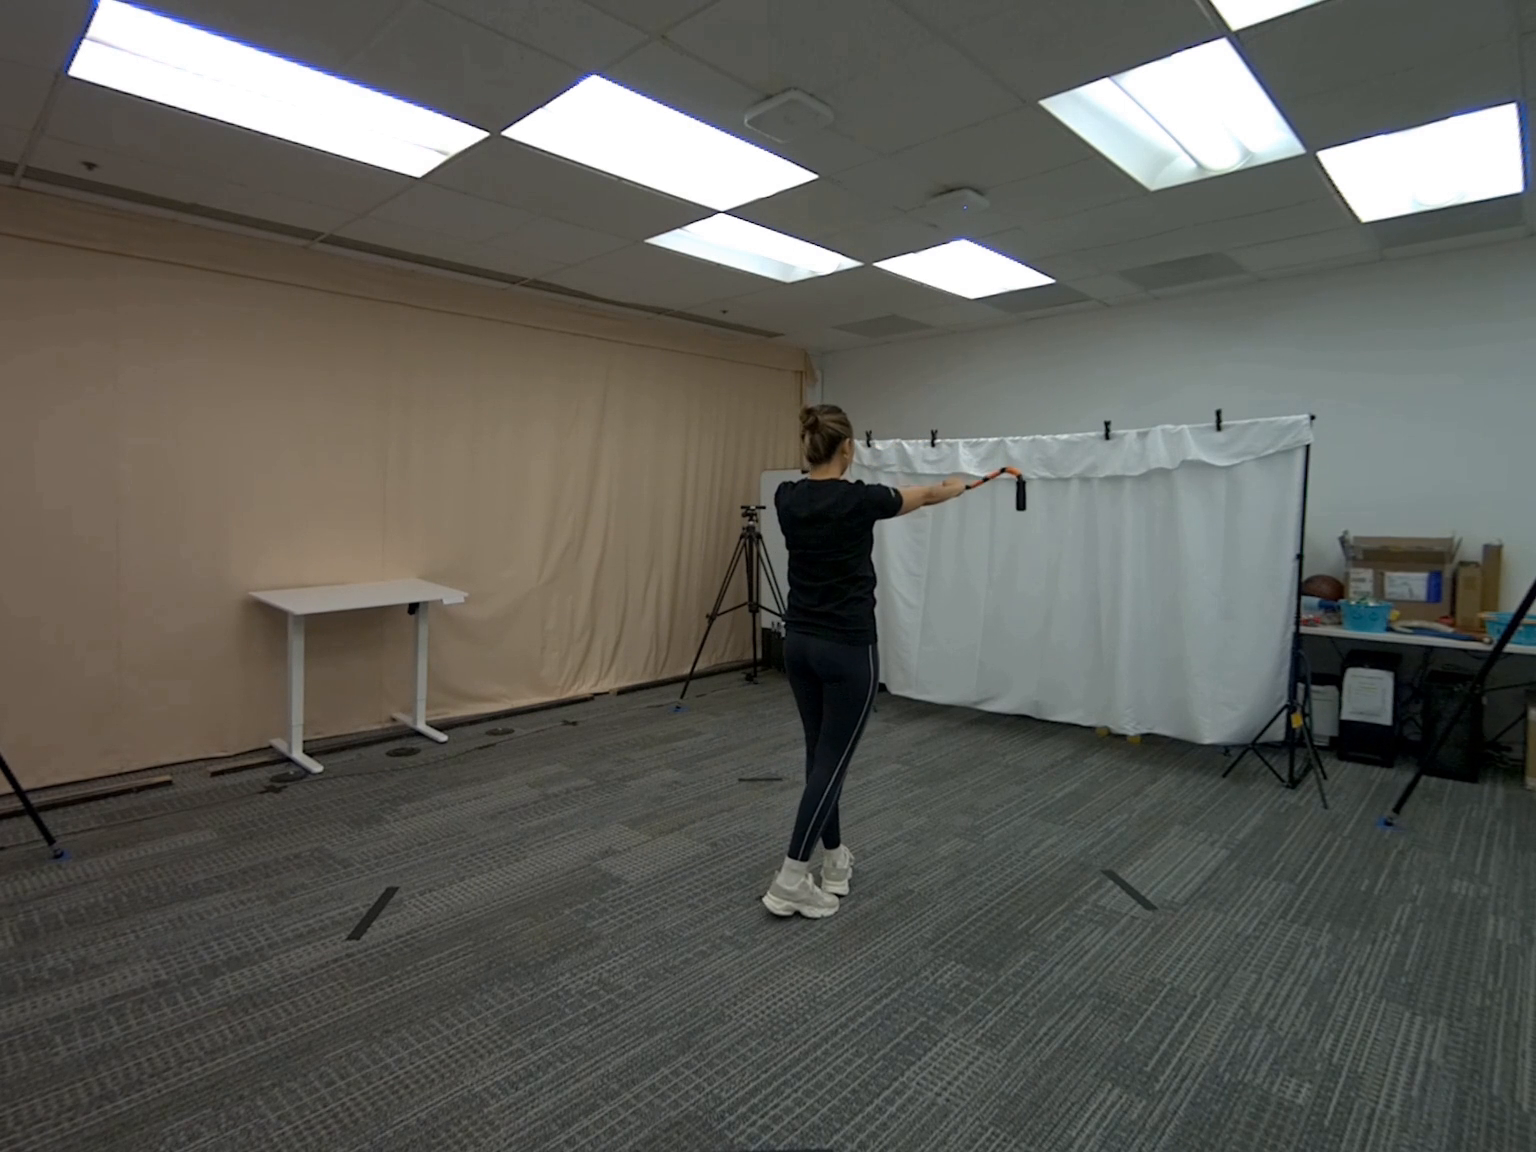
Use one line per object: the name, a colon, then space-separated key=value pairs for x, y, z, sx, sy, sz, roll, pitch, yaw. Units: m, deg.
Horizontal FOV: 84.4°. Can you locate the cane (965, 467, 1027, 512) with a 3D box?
cane: x=0.577 y=-0.351 z=3.368 sx=0.936 sy=0.206 sz=0.147 roll=2 pitch=1 yaw=34
